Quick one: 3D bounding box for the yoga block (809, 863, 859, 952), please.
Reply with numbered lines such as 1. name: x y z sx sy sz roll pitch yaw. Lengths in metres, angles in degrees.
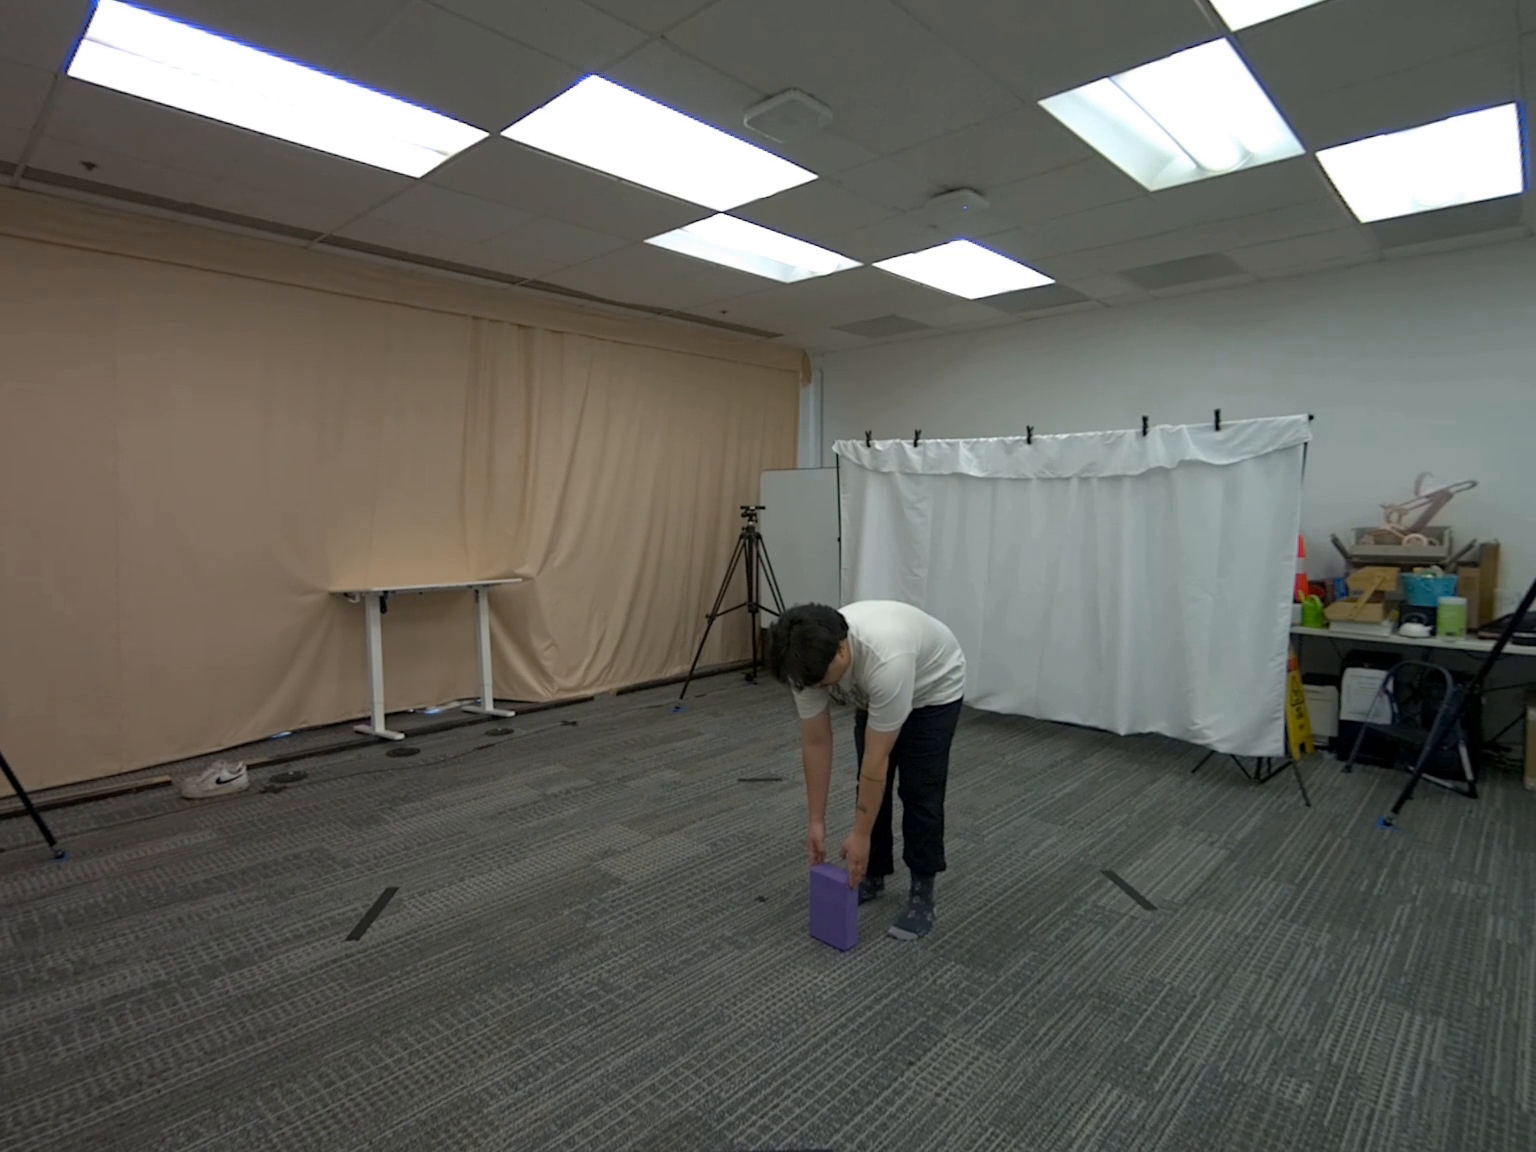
1. yoga block: 0.219 1.058 2.686 0.154 0.229 0.074 6 4 43
